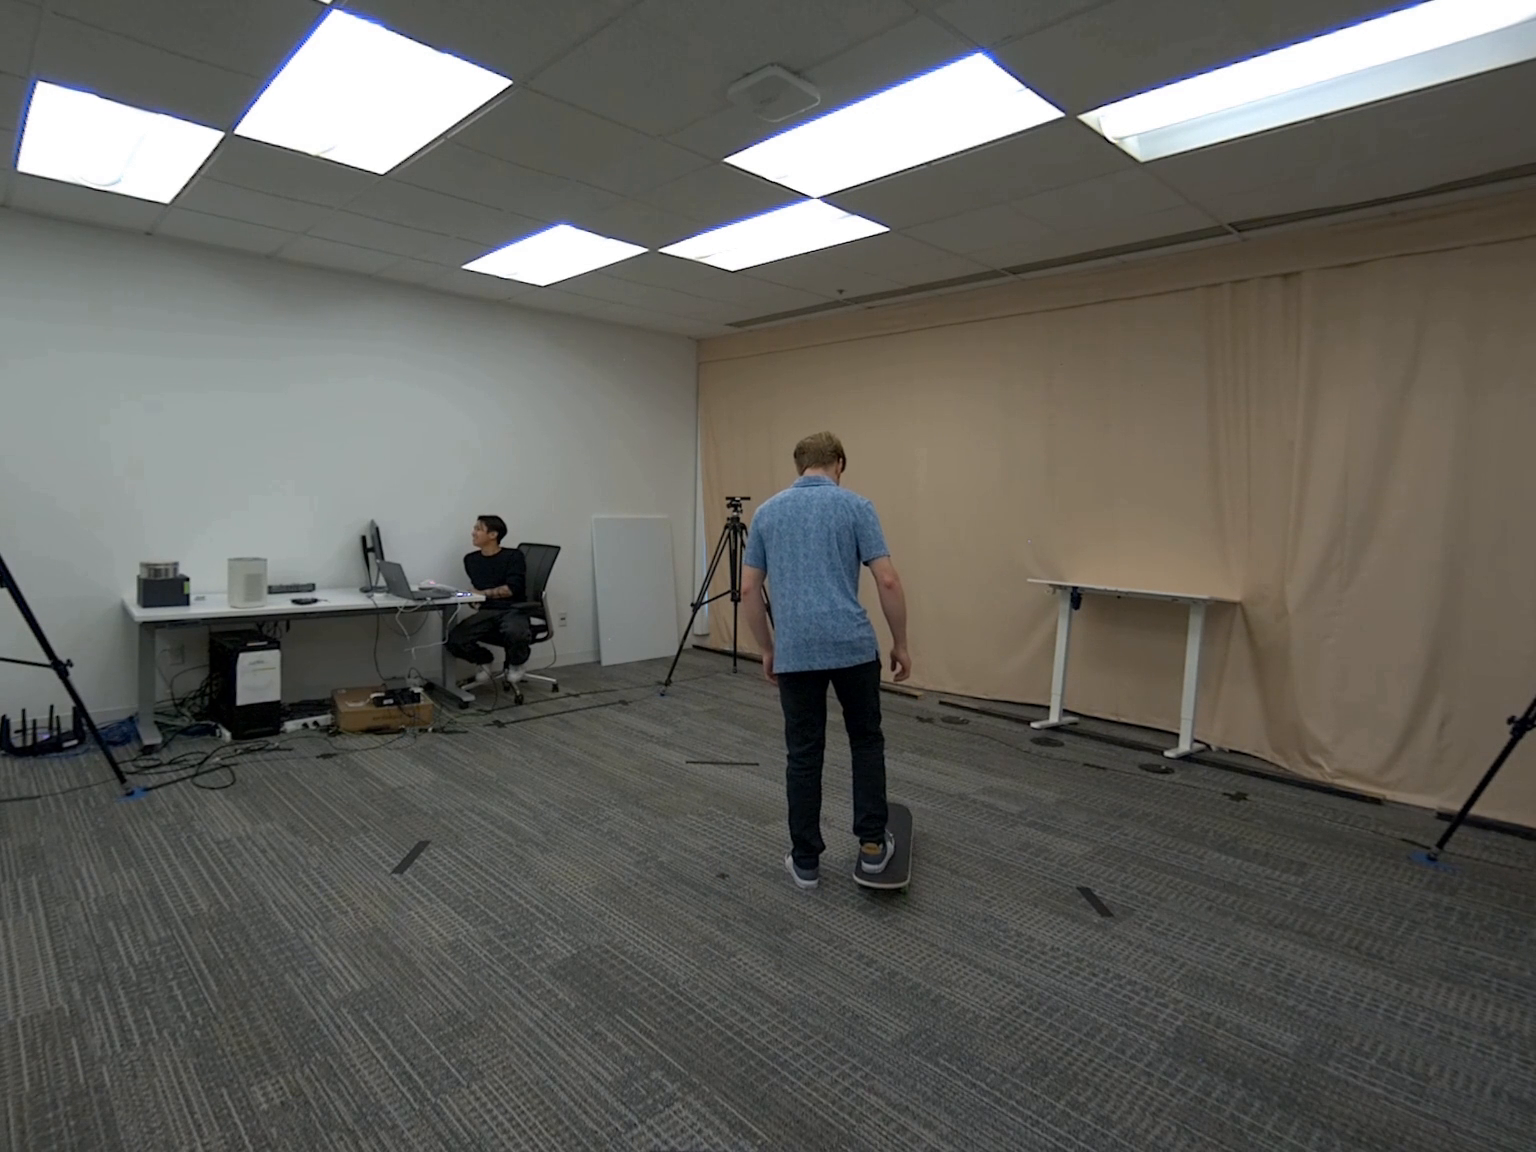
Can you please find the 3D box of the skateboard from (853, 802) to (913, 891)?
[{"bbox_3d":[0.440,1.051,3.216,0.195,0.110,0.780,0,5,10],"label":"skateboard"}]
